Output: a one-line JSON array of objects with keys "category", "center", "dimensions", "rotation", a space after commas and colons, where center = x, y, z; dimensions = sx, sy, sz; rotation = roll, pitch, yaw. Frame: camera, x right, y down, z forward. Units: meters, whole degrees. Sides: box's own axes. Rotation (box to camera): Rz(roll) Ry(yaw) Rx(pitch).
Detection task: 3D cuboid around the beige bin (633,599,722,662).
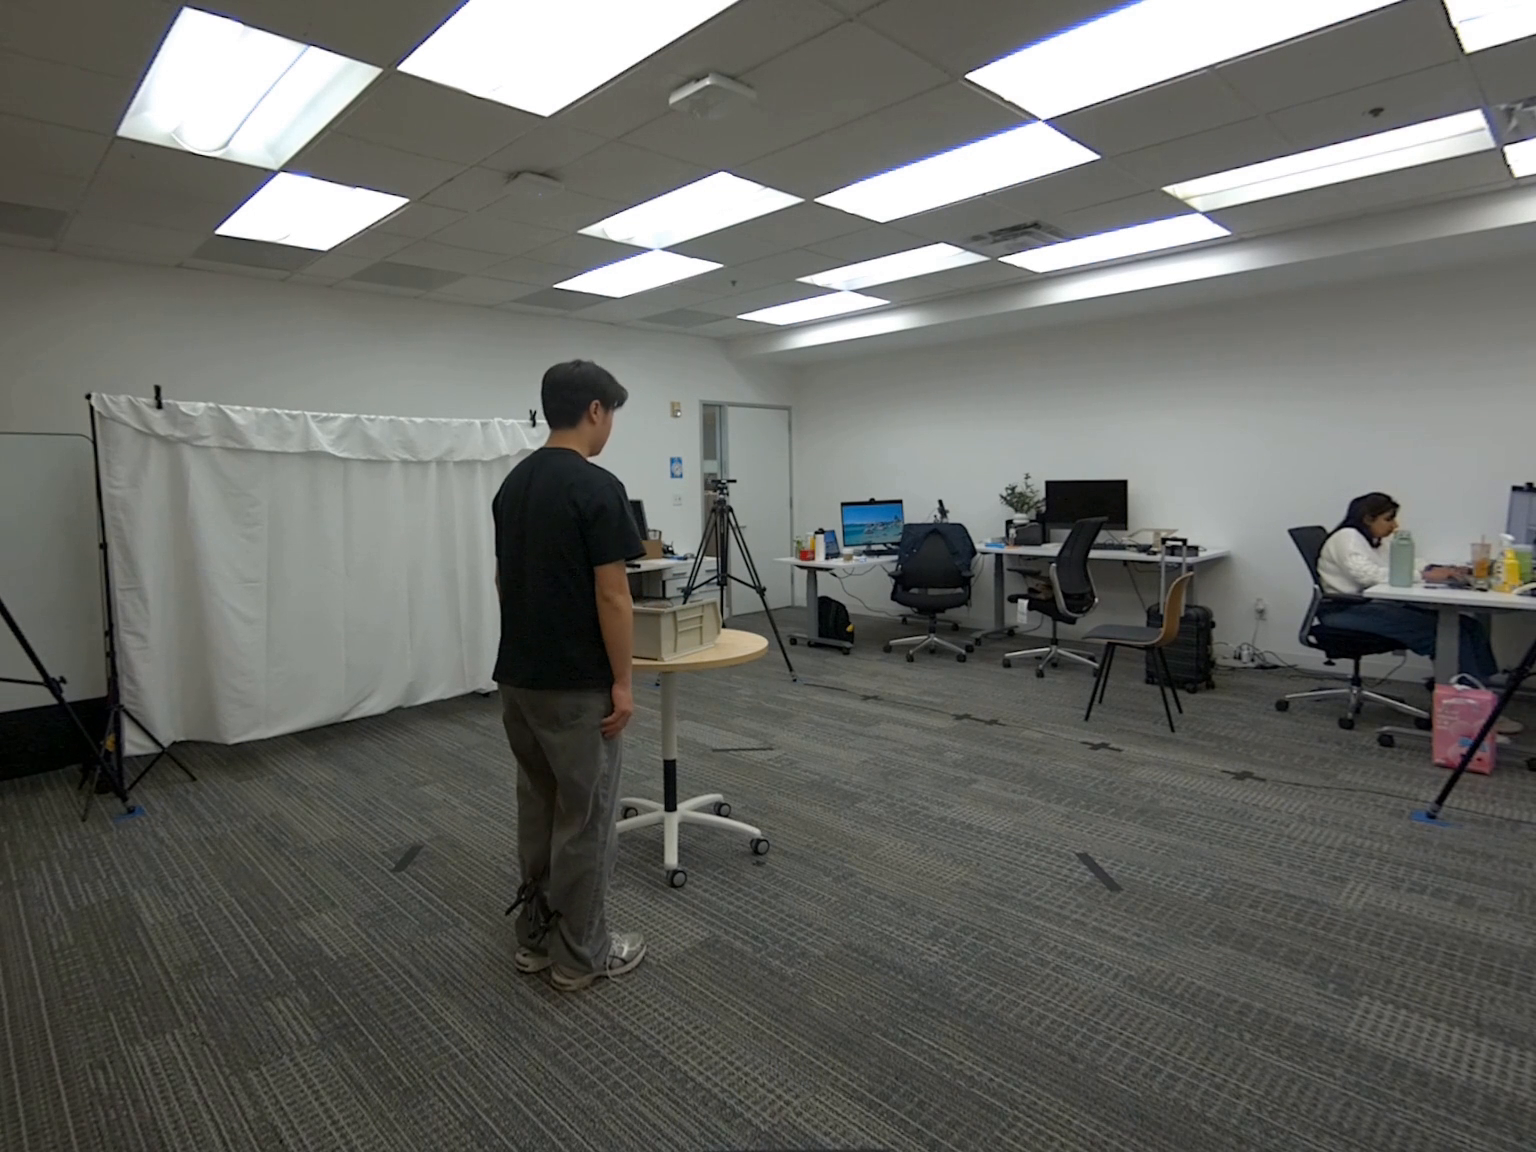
[{"category": "beige bin", "center": [-0.442, 0.177, 3.136], "dimensions": [0.434, 0.188, 0.369], "rotation": [3, 8, 31]}]
